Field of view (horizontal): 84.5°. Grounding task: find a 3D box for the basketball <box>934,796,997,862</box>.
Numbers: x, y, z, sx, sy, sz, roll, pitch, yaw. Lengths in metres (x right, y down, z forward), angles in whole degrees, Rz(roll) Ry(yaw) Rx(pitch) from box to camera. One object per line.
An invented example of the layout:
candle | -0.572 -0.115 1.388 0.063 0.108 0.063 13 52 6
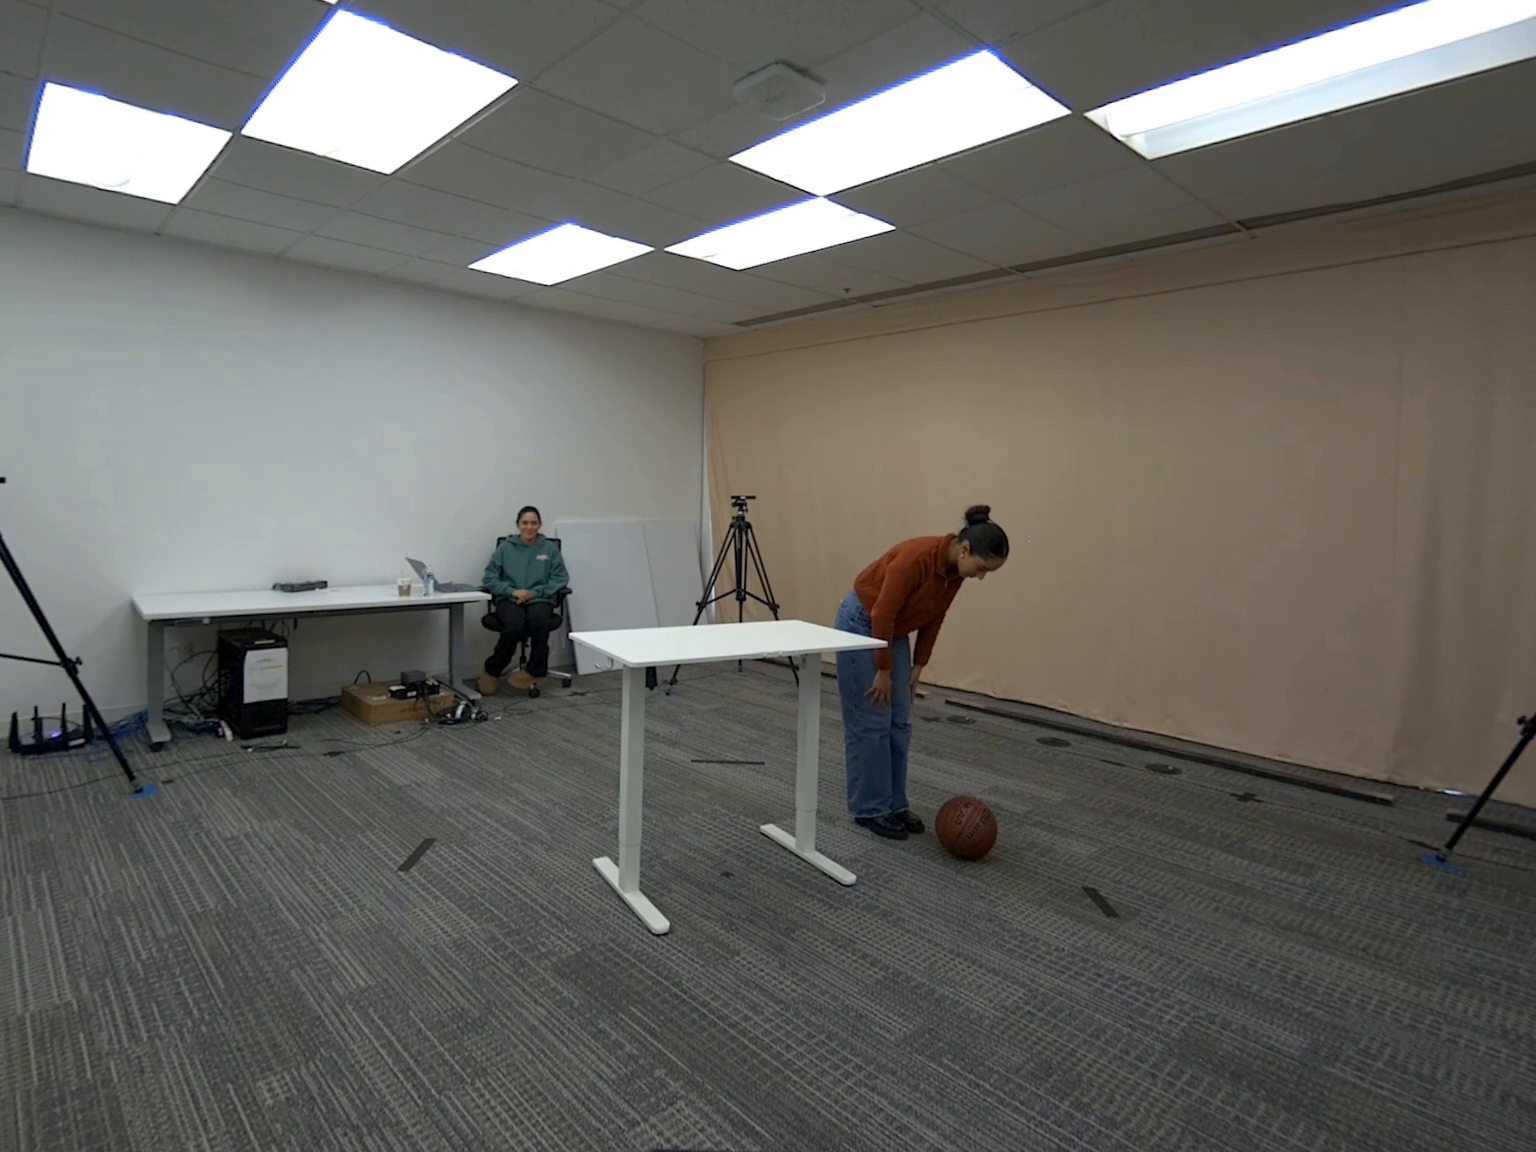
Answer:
basketball | 0.767 0.979 3.312 0.236 0.235 0.237 1 4 -1
